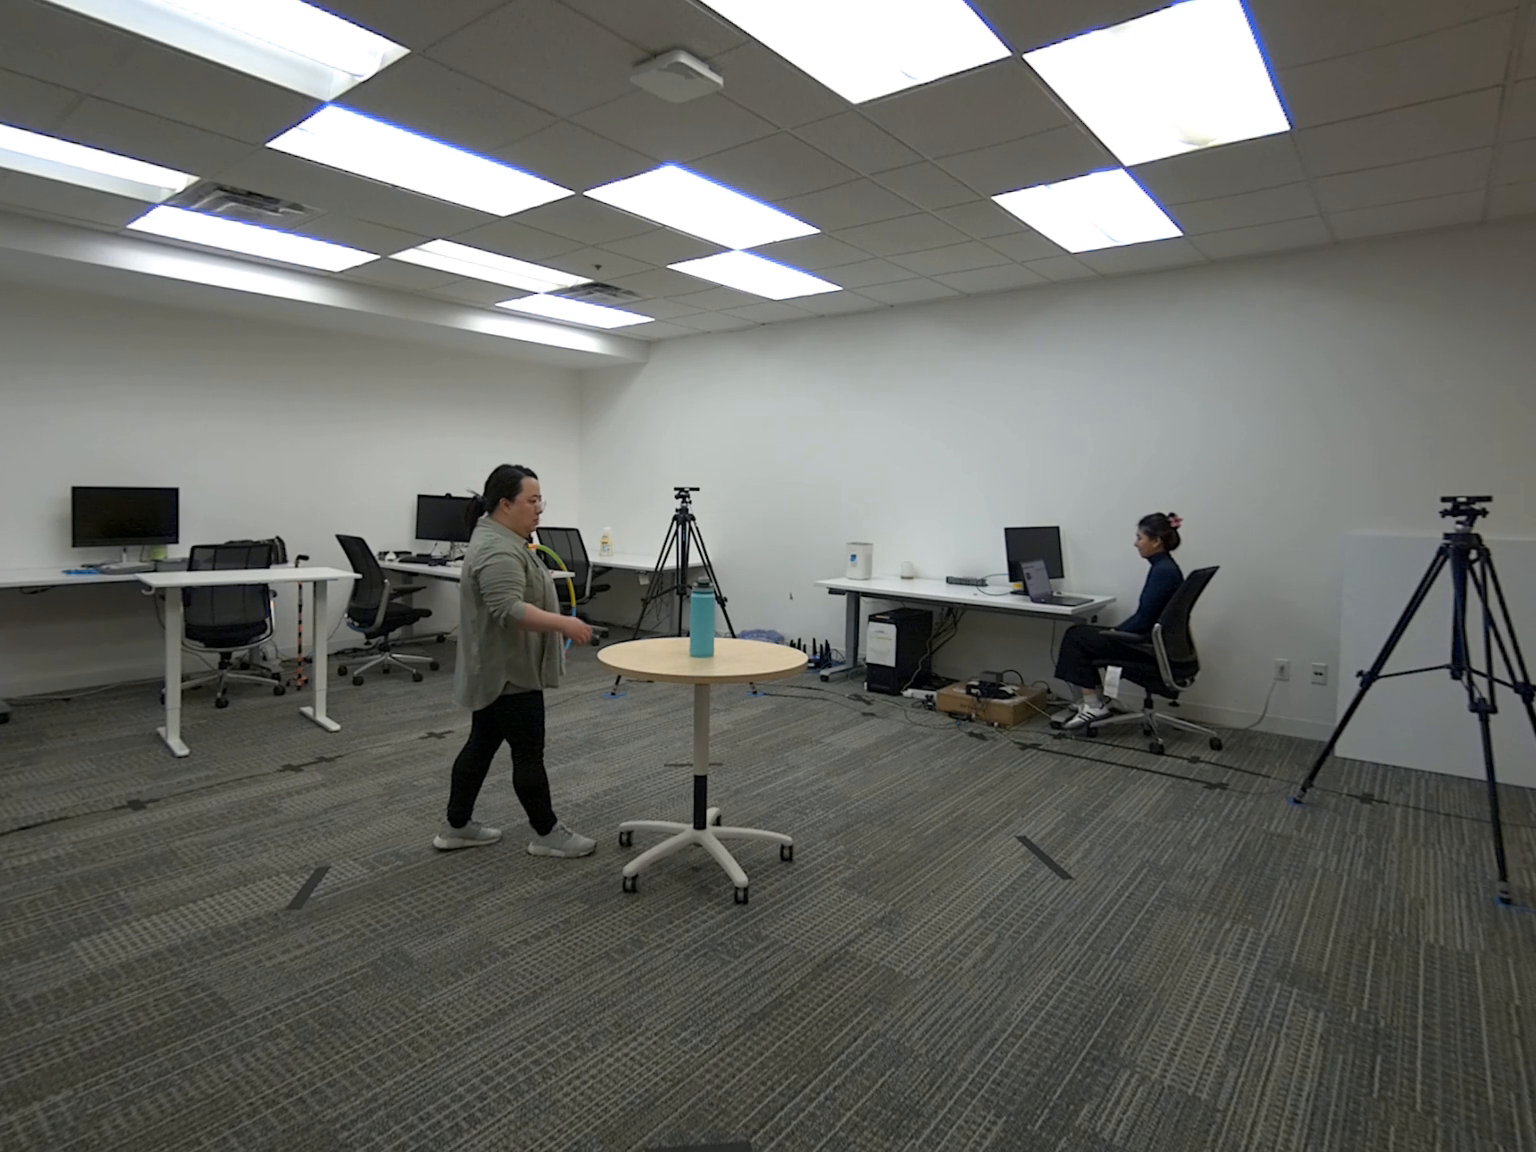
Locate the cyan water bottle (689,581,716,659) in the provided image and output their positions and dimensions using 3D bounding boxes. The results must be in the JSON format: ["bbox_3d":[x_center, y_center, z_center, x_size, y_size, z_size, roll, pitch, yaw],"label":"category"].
[{"bbox_3d":[-0.248,0.148,3.073,0.092,0.283,0.092,1,1,-2],"label":"cyan water bottle"}]
